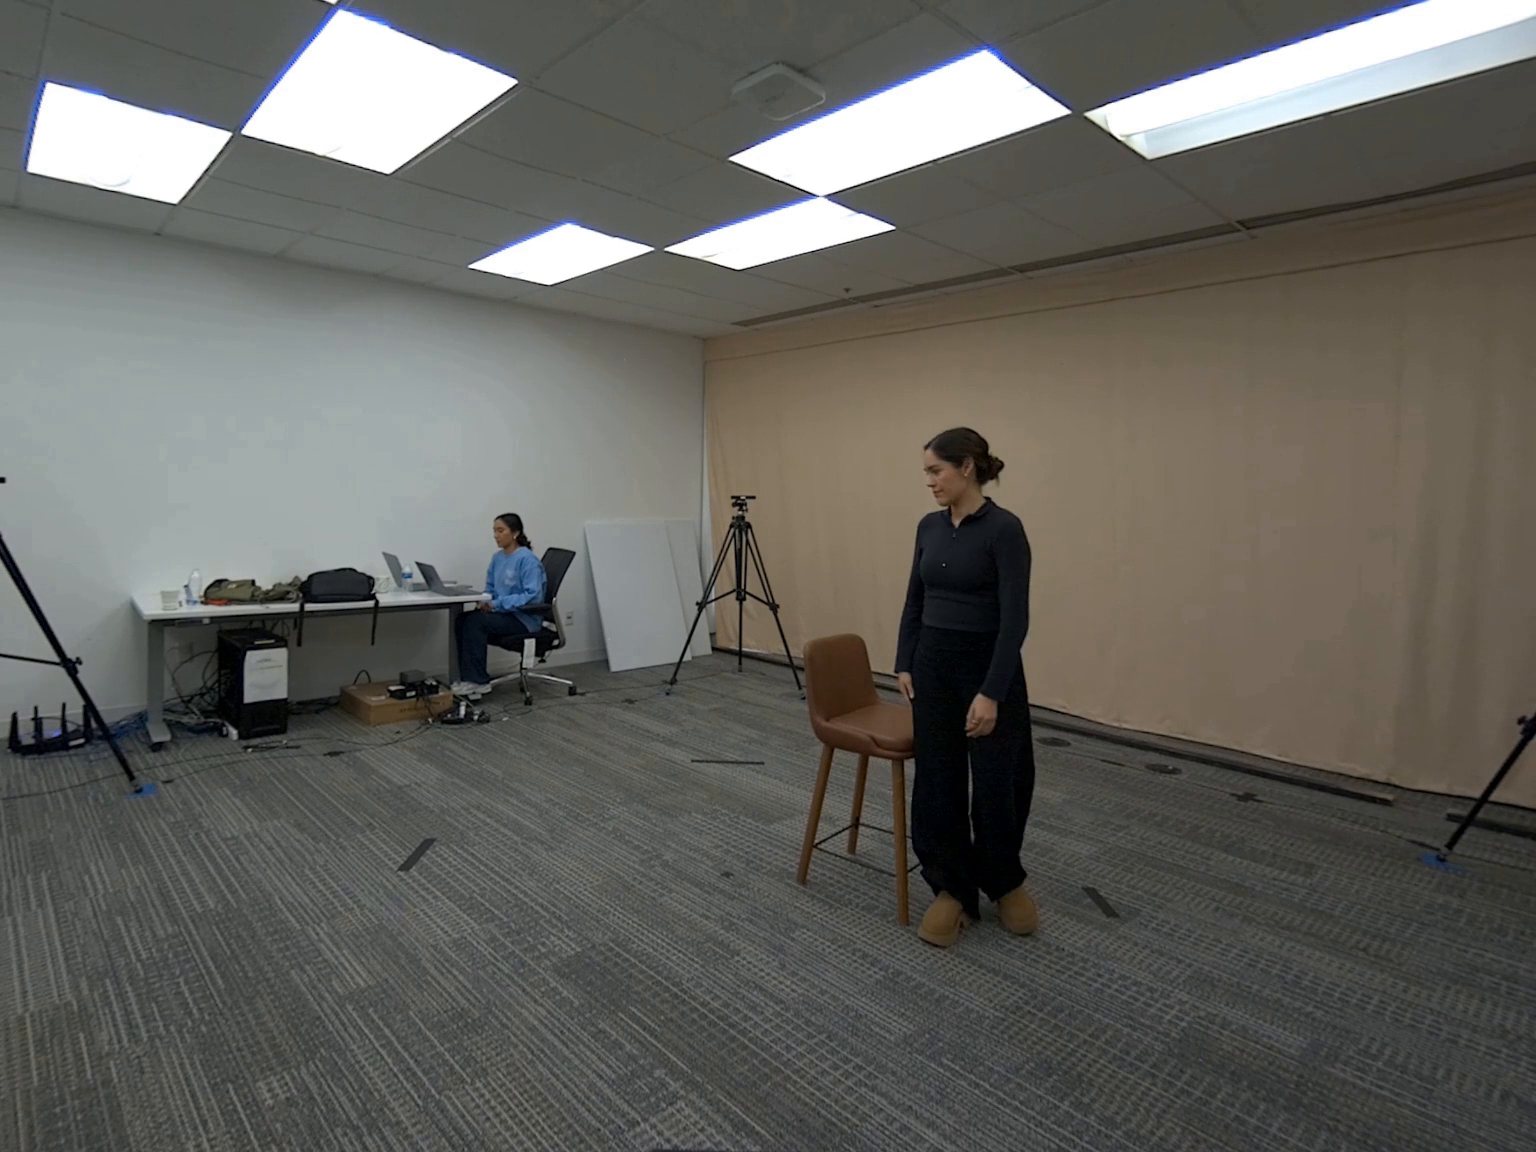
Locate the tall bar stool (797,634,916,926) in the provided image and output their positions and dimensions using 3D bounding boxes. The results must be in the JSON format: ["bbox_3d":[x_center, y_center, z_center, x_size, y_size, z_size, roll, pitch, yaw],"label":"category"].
[{"bbox_3d":[0.397,0.686,3.034,0.479,0.888,0.446,3,3,38],"label":"tall bar stool"}]
